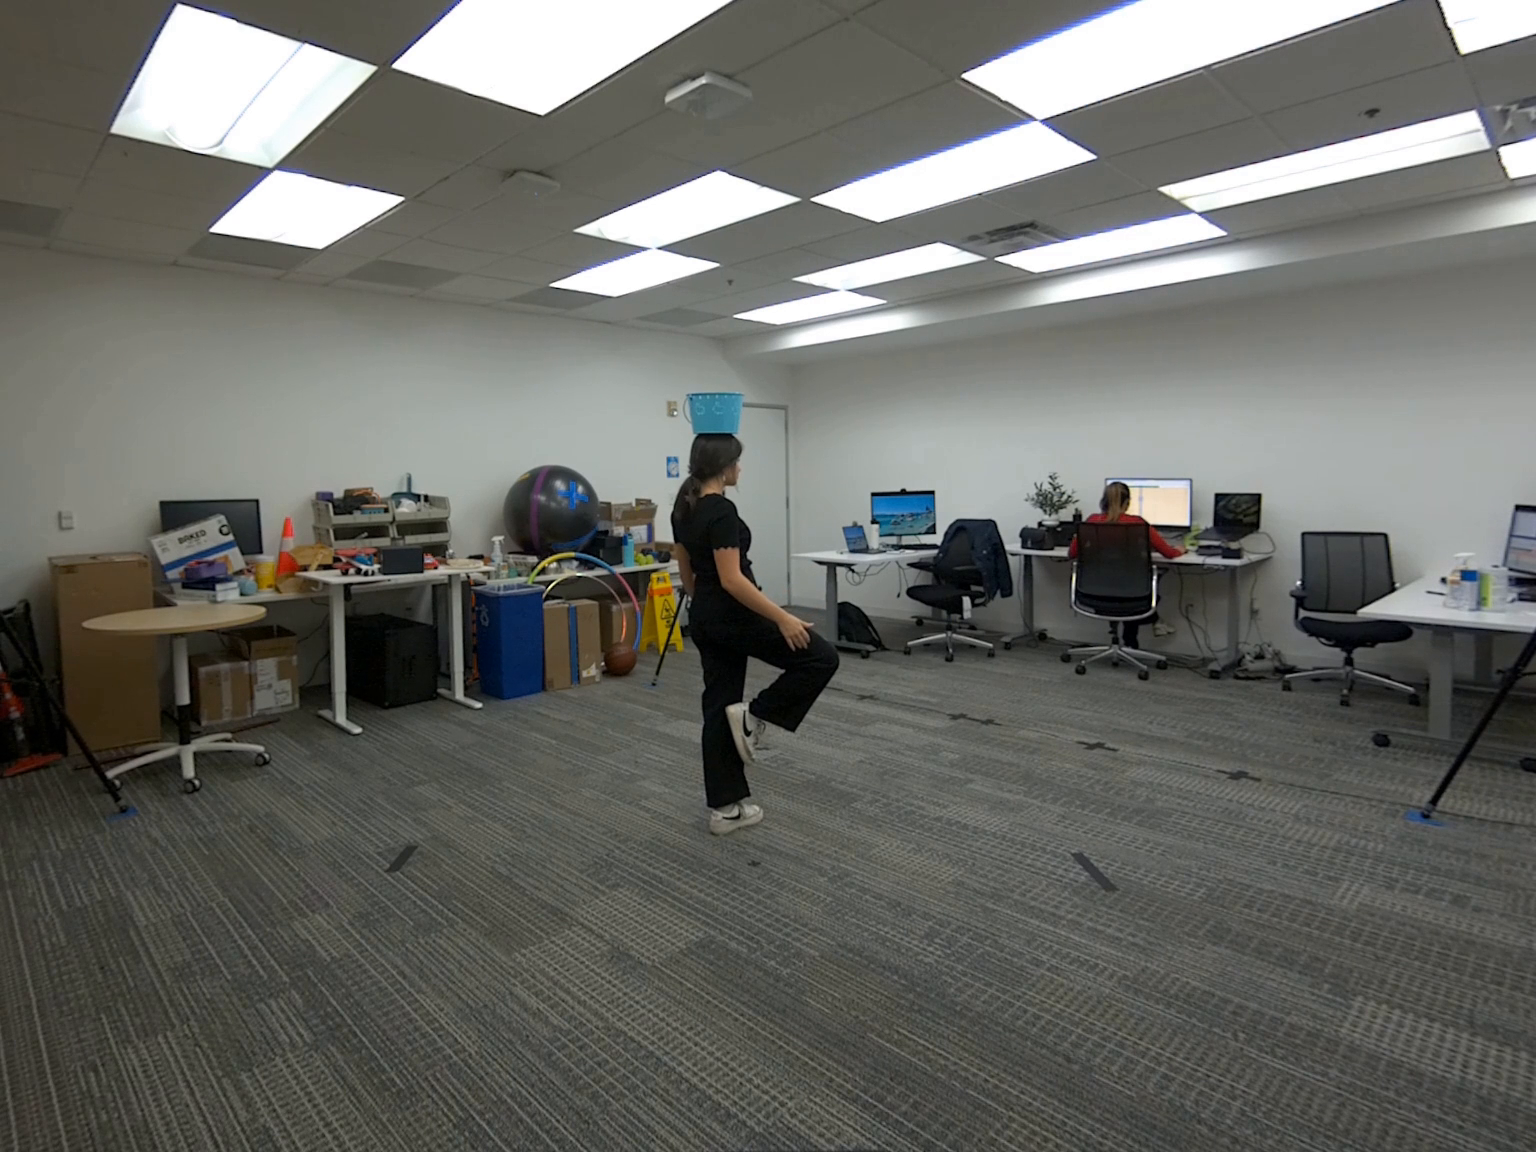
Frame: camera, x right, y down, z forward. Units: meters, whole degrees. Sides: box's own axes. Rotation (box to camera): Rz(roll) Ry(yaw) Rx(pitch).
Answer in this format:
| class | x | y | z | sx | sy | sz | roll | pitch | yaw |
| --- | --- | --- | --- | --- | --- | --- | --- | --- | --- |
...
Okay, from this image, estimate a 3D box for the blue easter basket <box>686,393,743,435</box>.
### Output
| class | x | y | z | sx | sy | sz | roll | pitch | yaw |
| --- | --- | --- | --- | --- | --- | --- | --- | --- | --- |
| blue easter basket | -0.211 | -0.638 | 3.356 | 0.243 | 0.155 | 0.245 | 0 | 6 | -2 |
